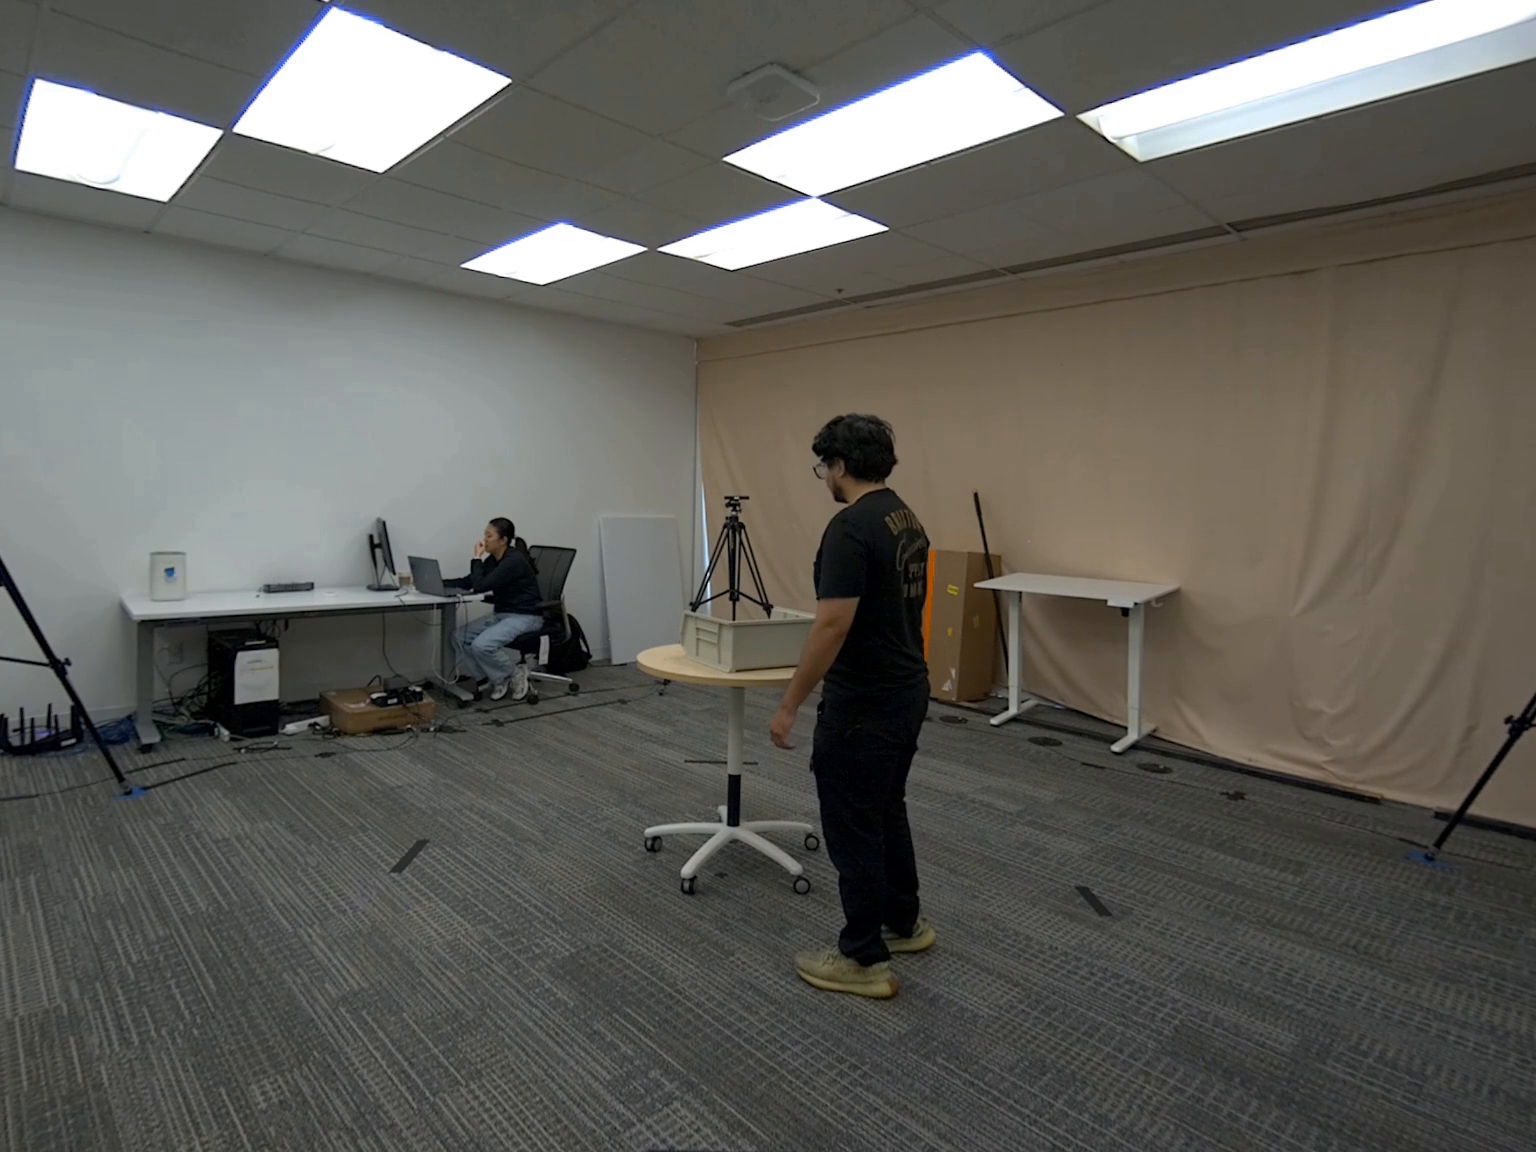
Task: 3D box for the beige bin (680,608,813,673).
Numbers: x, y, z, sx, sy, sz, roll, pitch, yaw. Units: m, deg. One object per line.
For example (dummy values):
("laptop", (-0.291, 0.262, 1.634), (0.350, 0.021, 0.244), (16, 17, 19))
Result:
("beige bin", (-0.068, 0.230, 3.152), (0.413, 0.188, 0.386), (-1, 6, -32))
